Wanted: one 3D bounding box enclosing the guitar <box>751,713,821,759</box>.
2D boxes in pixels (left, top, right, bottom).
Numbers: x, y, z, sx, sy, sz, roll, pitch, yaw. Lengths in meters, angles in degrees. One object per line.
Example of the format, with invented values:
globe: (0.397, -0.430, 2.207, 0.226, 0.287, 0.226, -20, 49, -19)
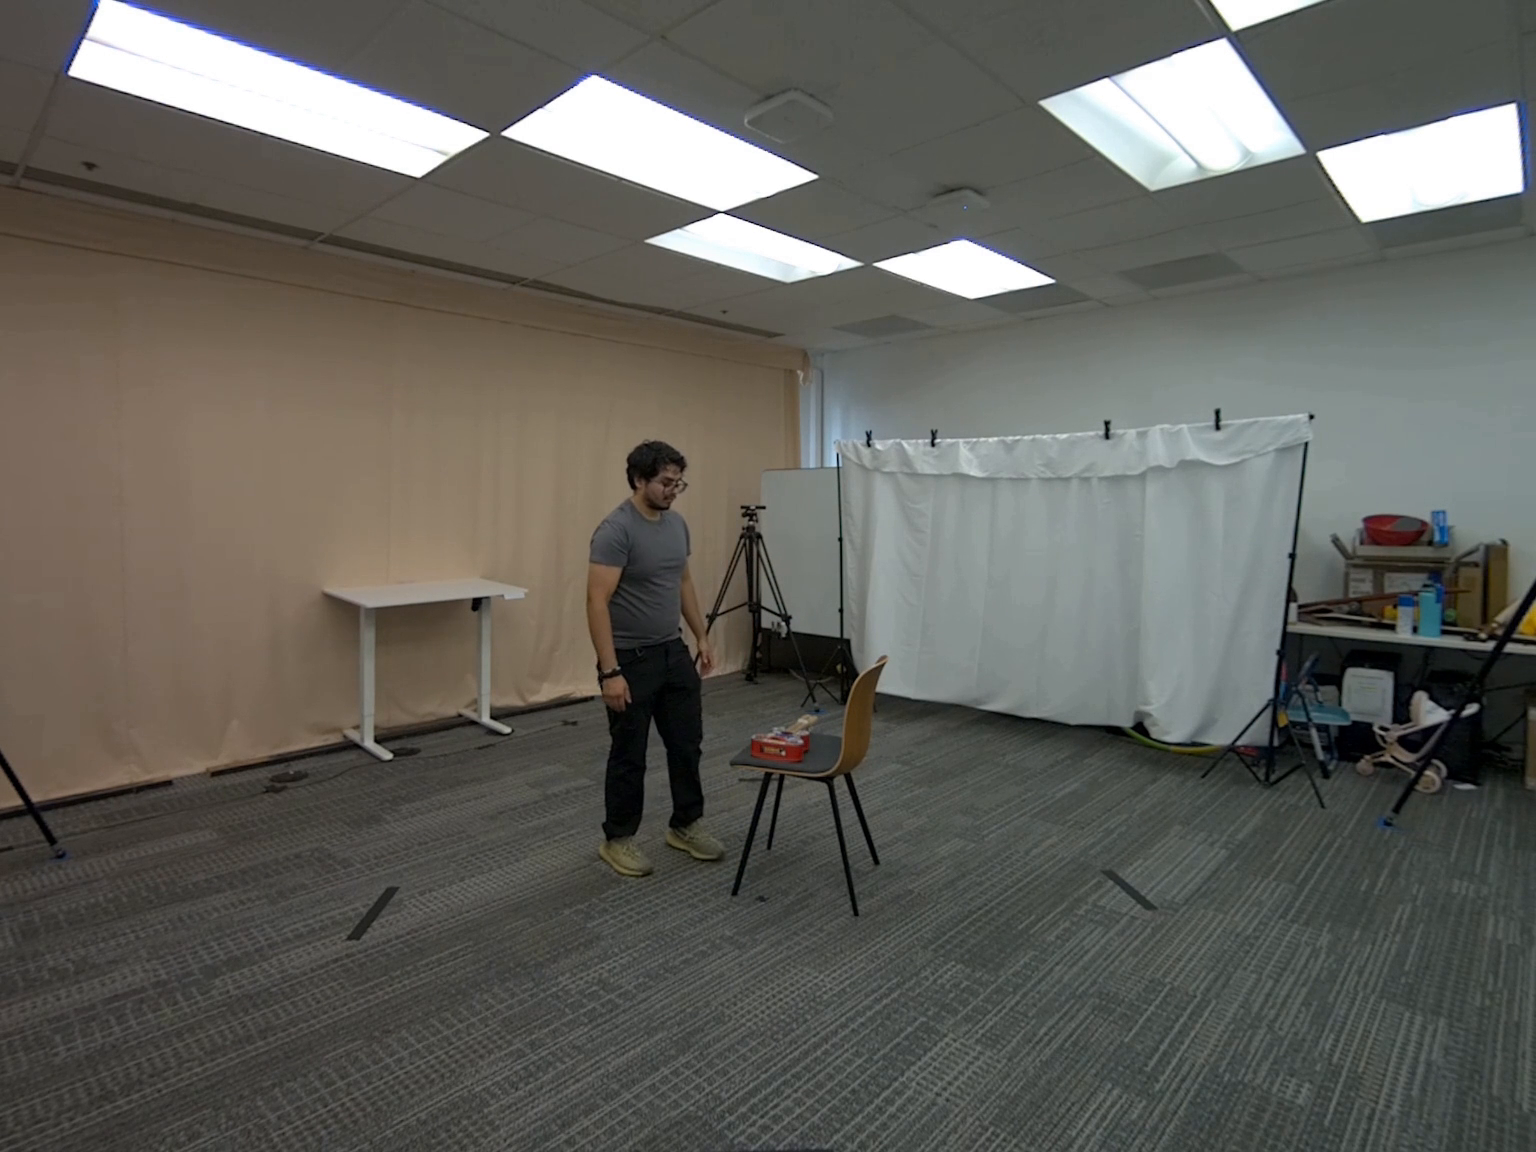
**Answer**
guitar: (0.126, 0.614, 3.197, 0.199, 0.070, 0.484, 4, 4, 30)
